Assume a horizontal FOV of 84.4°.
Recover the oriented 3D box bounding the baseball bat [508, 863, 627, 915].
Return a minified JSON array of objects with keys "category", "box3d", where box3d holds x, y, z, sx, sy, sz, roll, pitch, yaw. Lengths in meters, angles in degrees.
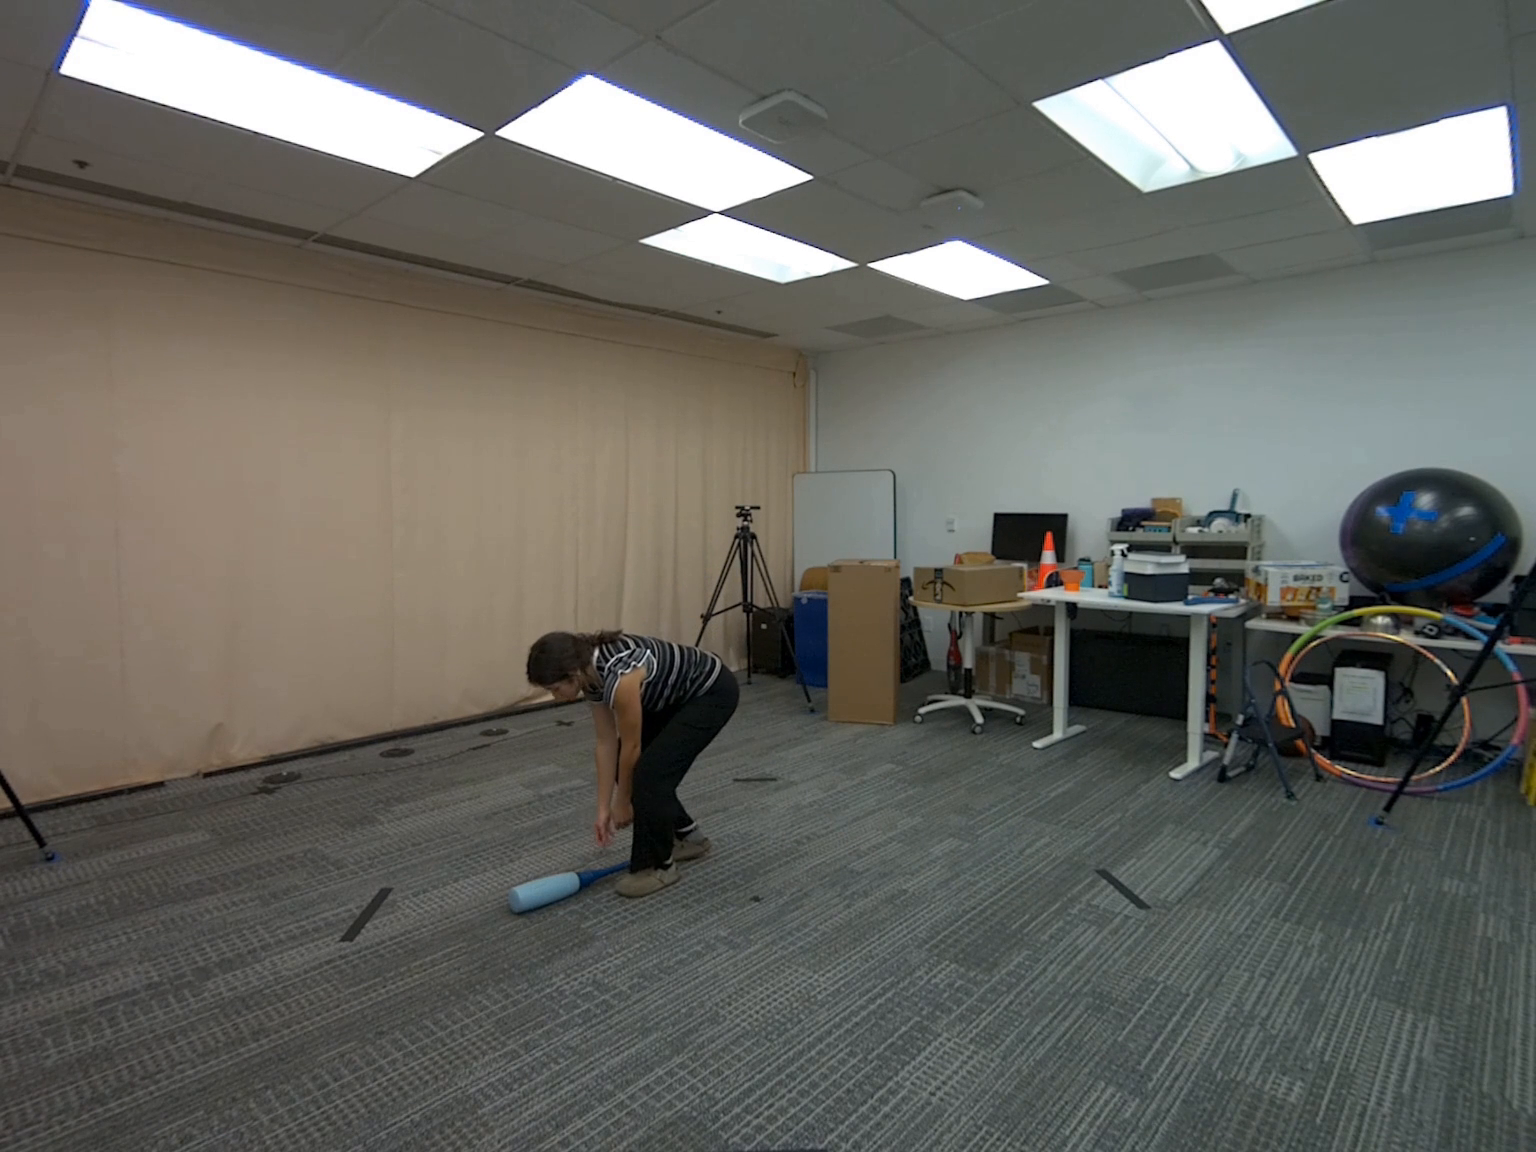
[{"category":"baseball bat","box3d":[-0.689,1.108,3.058,0.092,0.089,0.525,4,3,45]}]
